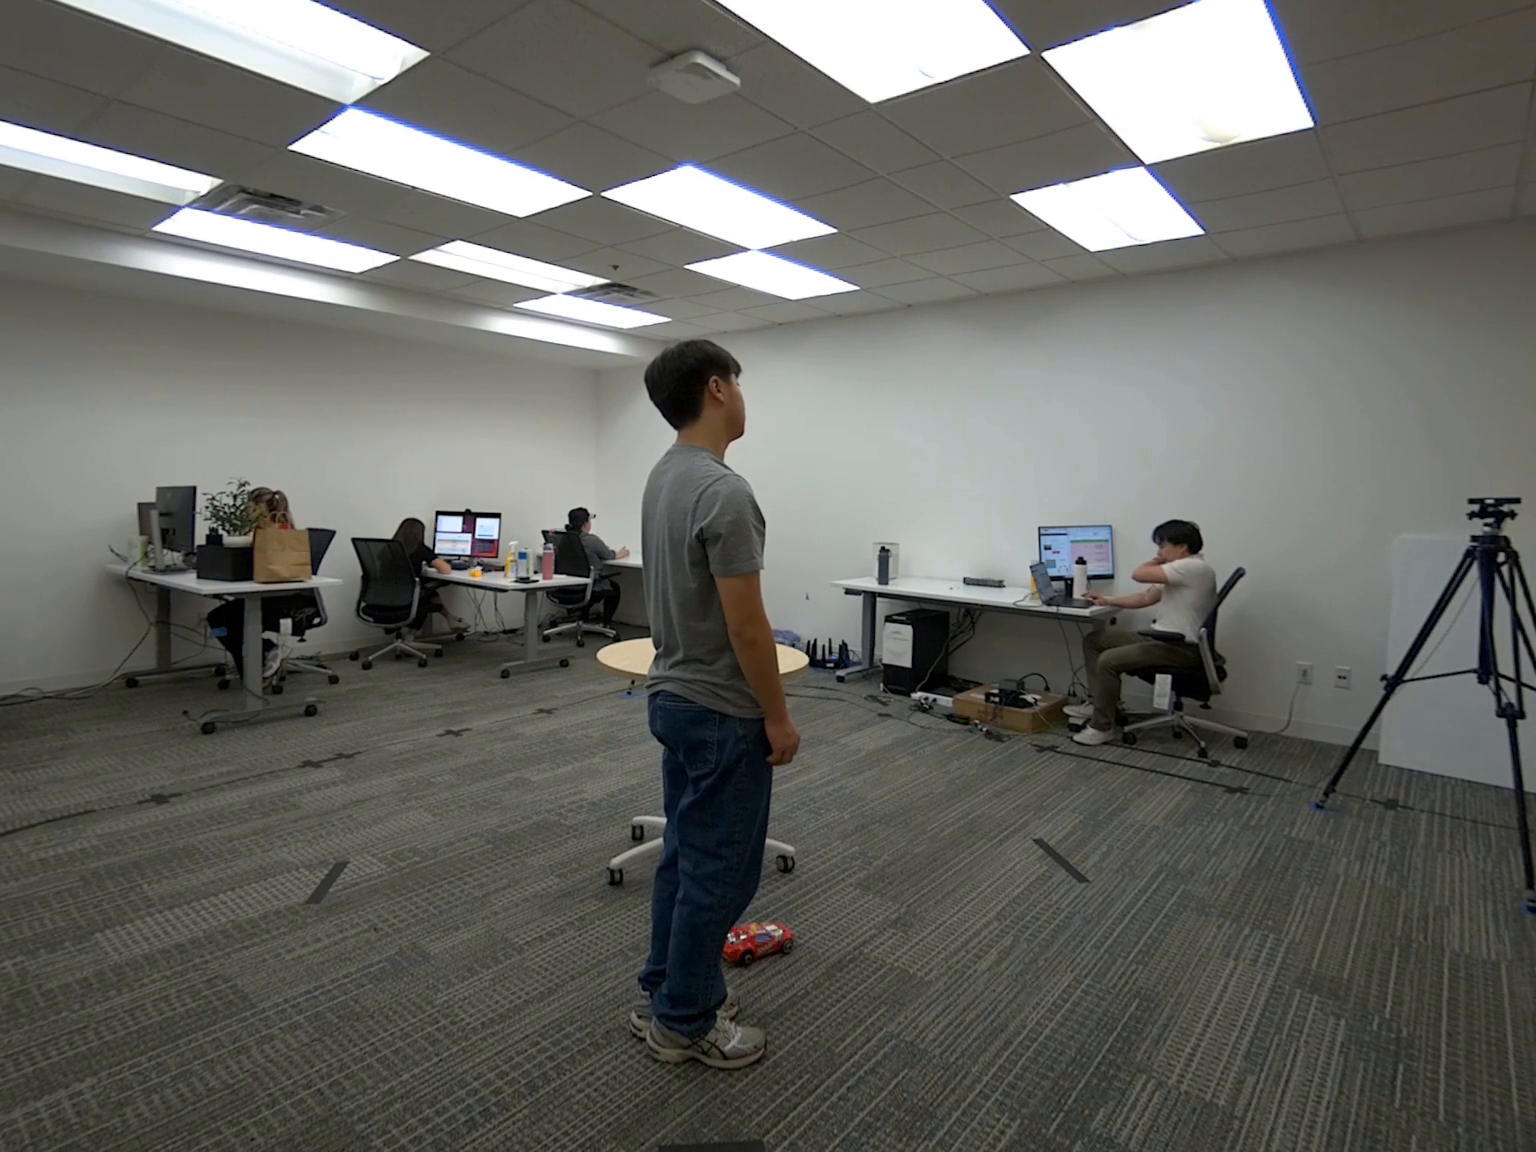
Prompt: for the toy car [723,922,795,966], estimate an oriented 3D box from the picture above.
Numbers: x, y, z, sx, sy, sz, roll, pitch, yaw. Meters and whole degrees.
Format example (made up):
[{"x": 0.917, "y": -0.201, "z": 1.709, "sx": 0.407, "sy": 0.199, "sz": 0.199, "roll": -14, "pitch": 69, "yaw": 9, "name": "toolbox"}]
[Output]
[{"x": -0.054, "y": 1.095, "z": 2.542, "sx": 0.246, "sy": 0.083, "sz": 0.134, "roll": 10, "pitch": -1, "yaw": -31, "name": "toy car"}]
